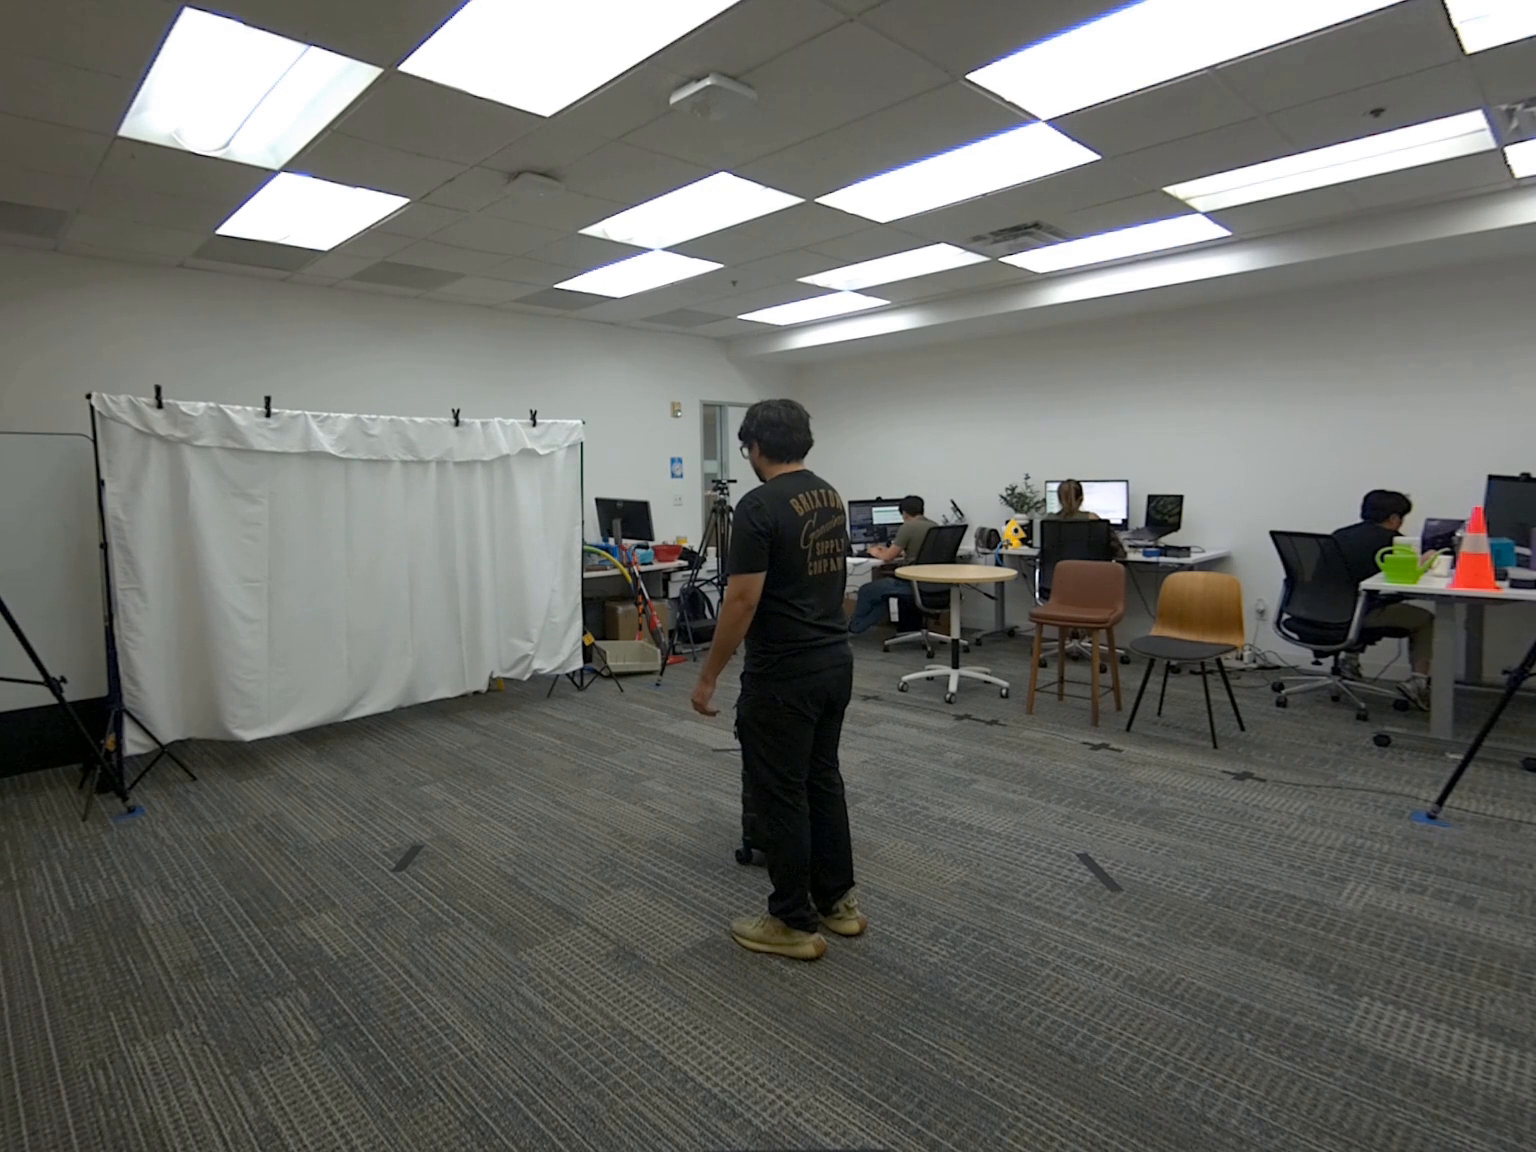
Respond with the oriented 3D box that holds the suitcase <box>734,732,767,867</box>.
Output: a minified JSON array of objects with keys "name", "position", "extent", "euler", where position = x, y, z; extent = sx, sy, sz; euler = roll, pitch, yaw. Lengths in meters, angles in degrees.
[{"name":"suitcase","position":[0.064,0.562,3.191],"extent":[0.261,0.976,0.379],"euler":[2,4,15]}]
